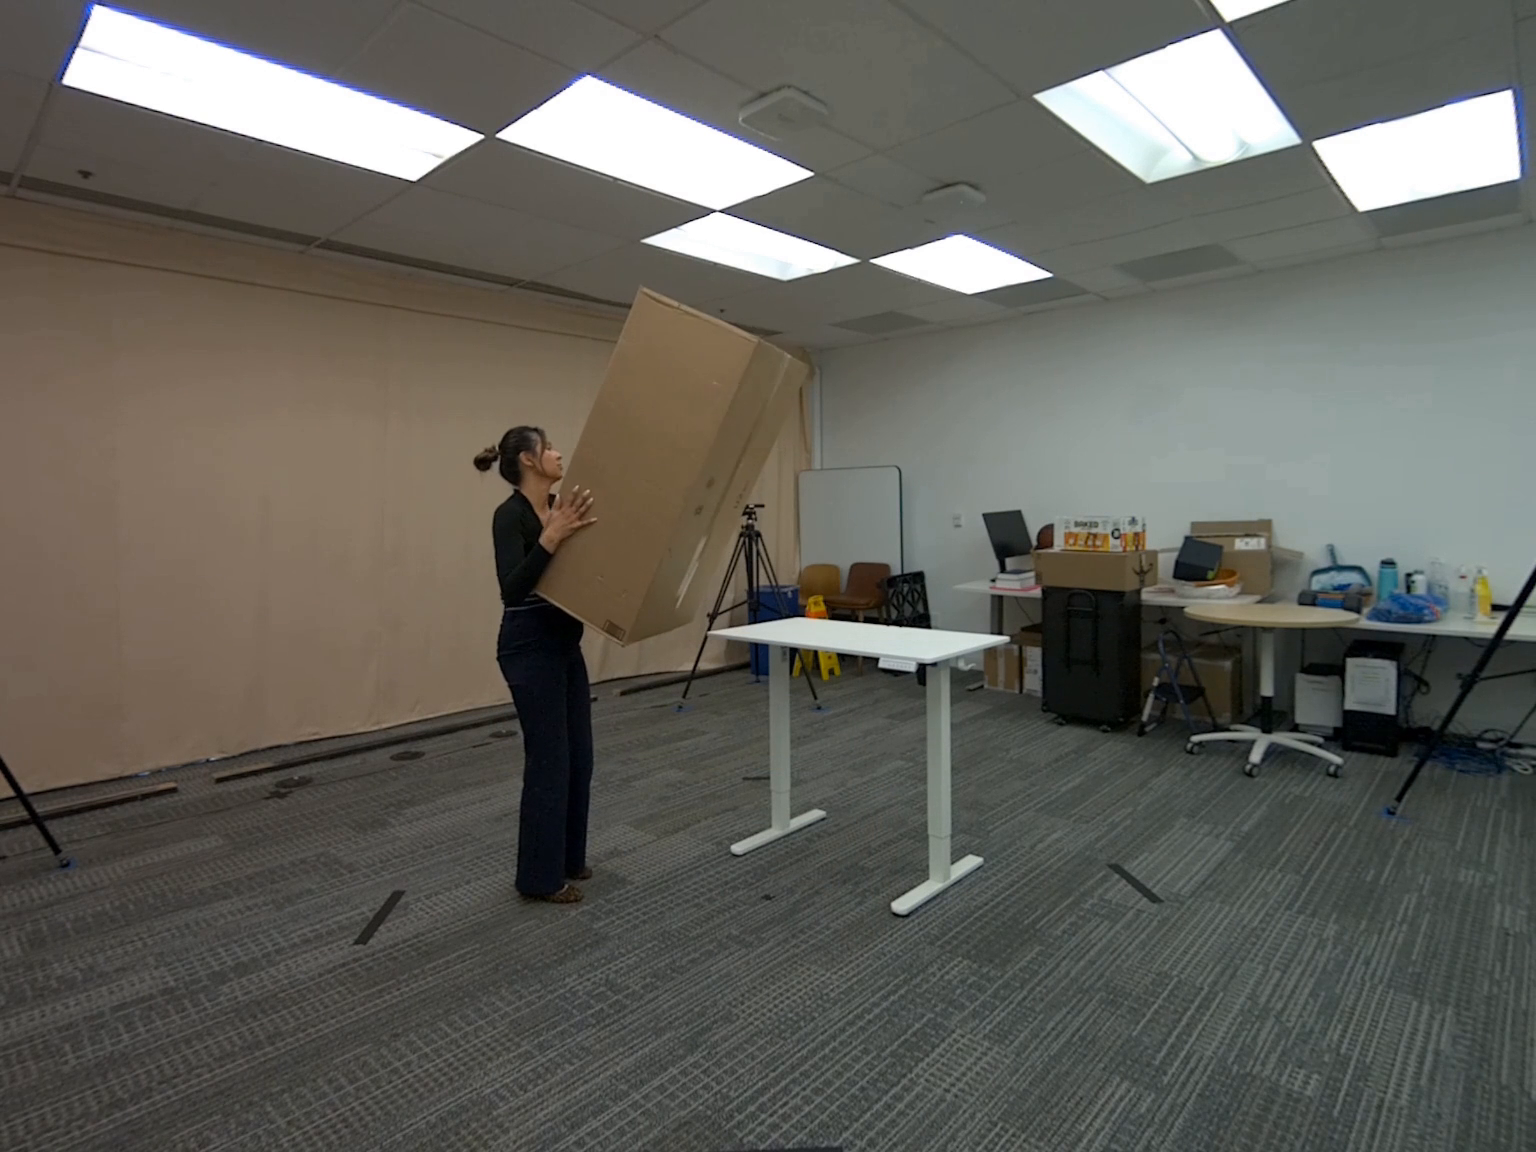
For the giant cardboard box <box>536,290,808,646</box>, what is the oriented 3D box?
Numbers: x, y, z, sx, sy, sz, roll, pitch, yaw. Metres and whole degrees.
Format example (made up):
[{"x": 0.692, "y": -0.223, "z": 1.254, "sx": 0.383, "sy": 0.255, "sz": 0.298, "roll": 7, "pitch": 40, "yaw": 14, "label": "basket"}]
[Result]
[{"x": -0.327, "y": -0.345, "z": 2.839, "sx": 0.435, "sy": 1.024, "sz": 0.566, "roll": 28, "pitch": 13, "yaw": 16, "label": "giant cardboard box"}]
